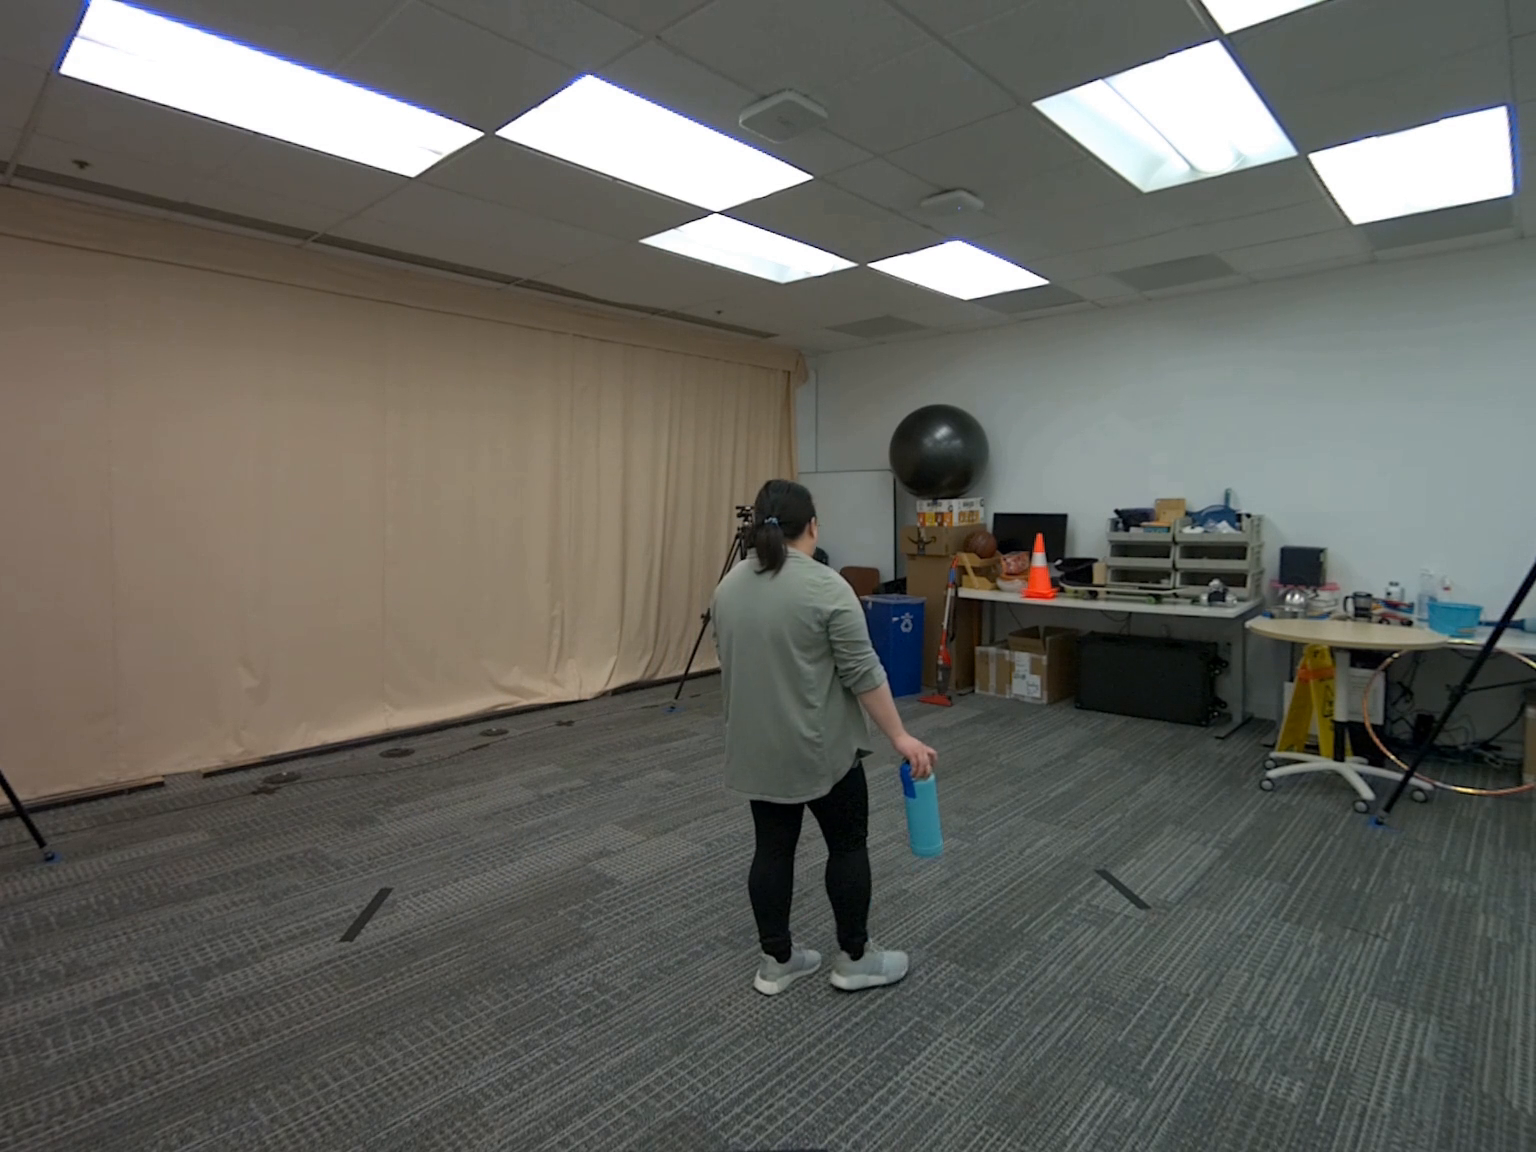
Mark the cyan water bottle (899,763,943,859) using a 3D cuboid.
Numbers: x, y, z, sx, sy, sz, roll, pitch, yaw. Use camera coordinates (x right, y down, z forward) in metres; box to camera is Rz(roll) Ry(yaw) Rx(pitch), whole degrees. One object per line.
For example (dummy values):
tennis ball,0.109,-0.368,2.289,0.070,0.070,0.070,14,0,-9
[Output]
cyan water bottle,0.421,0.634,2.311,0.092,0.282,0.093,-7,4,-1
